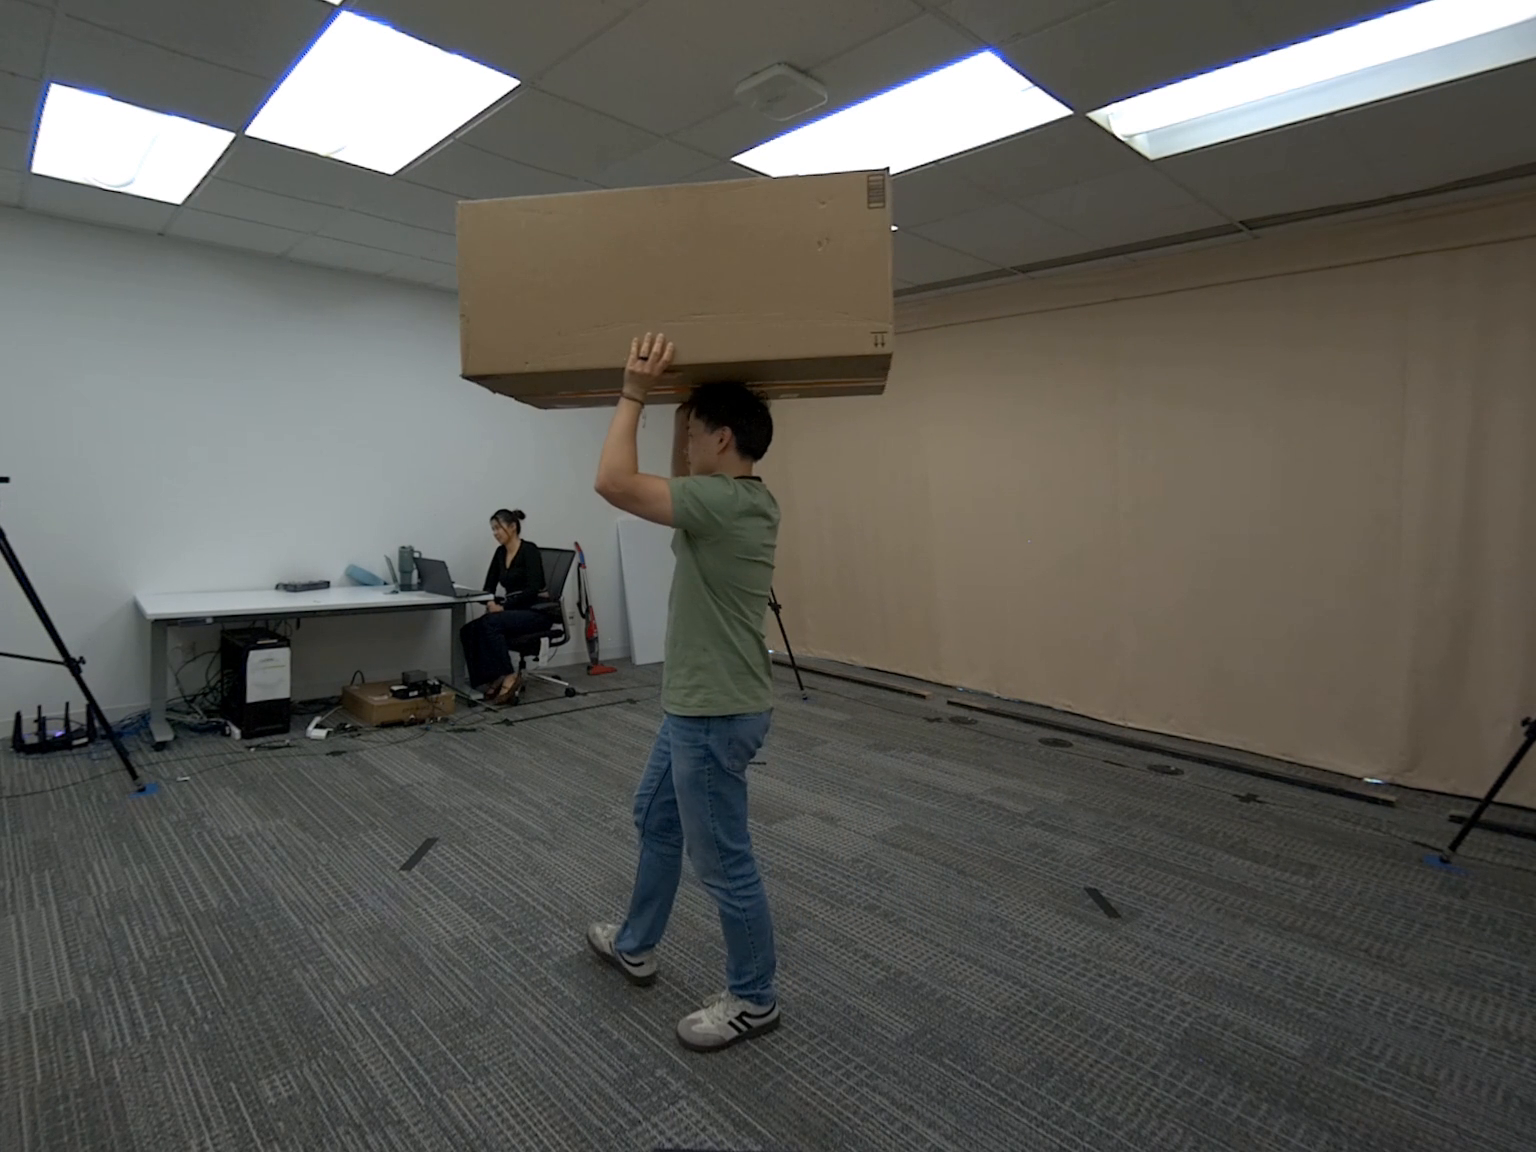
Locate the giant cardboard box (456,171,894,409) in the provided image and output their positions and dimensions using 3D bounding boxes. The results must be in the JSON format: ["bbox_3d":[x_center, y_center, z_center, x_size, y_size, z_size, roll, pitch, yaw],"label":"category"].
[{"bbox_3d":[-0.212,-0.707,2.223,1.032,0.426,0.574,-1,1,8],"label":"giant cardboard box"}]
